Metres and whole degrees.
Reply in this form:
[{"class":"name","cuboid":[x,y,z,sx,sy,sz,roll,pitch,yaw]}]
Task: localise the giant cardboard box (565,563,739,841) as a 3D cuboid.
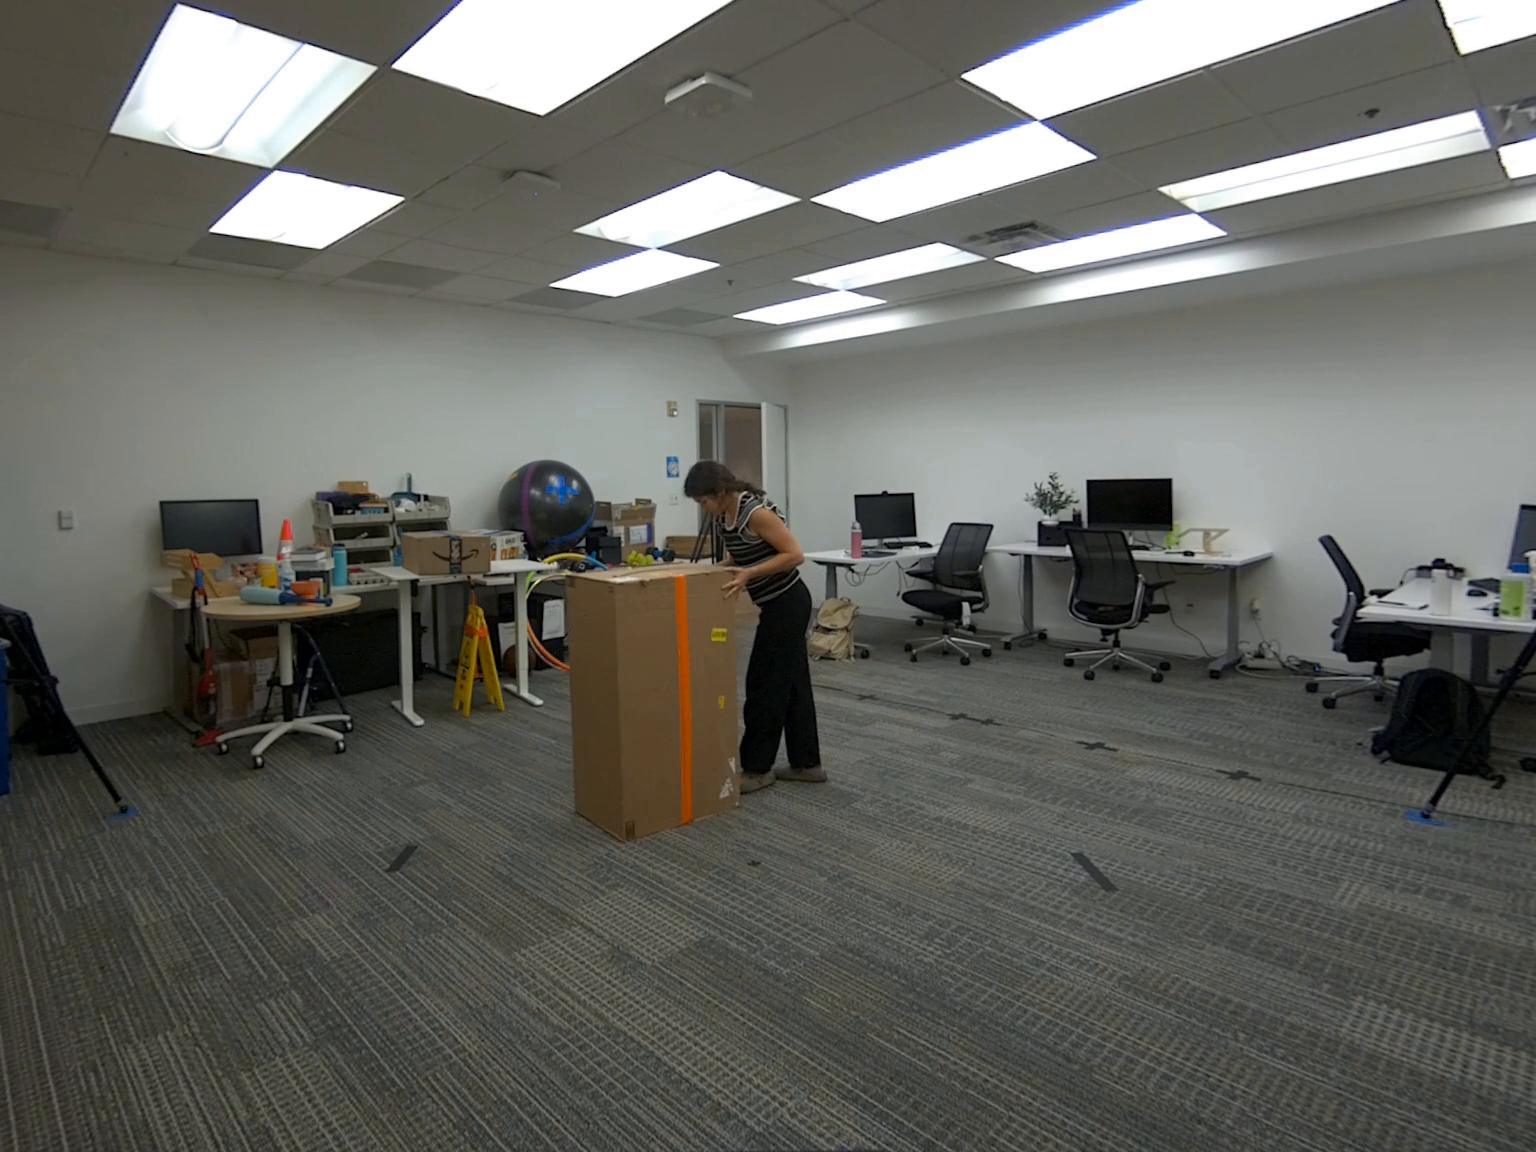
[{"class":"giant cardboard box","cuboid":[-0.481,0.489,3.601,0.563,1.021,0.439,-5,6,-37]}]
